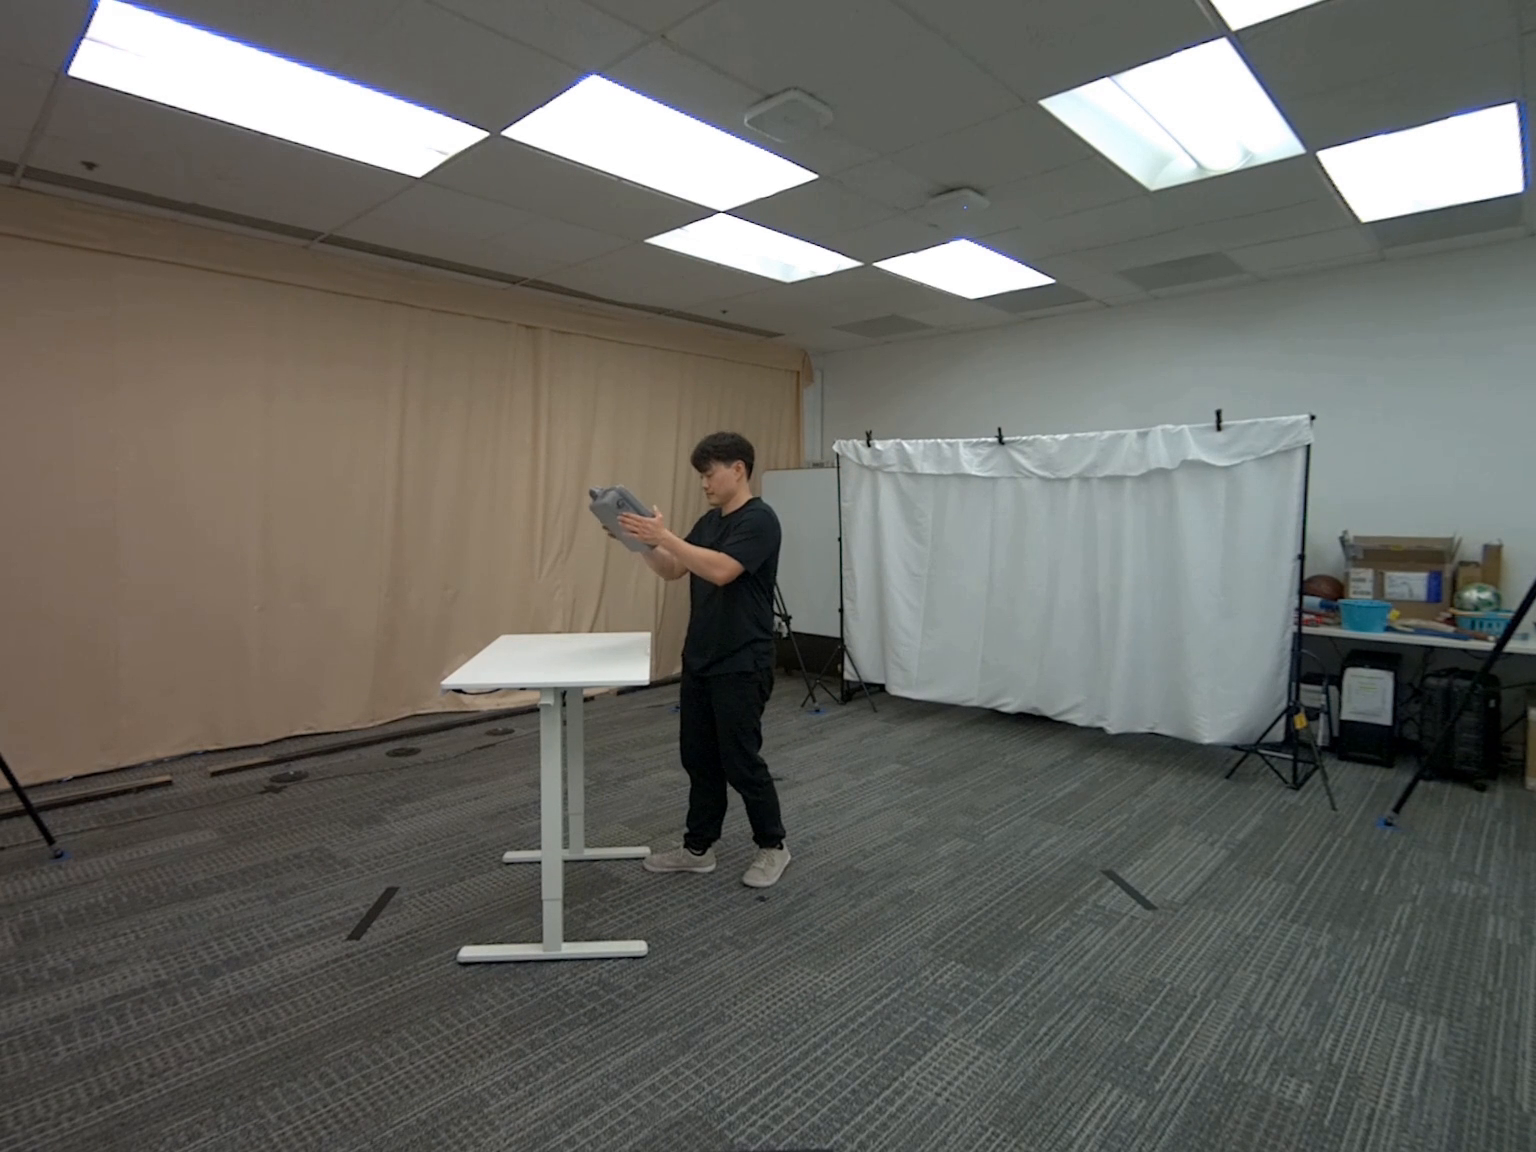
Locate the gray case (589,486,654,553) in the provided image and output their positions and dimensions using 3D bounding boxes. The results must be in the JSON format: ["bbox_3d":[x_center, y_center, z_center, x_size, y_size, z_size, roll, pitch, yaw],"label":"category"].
[{"bbox_3d":[-0.504,-0.204,3.015,0.256,0.104,0.262,45,-17,-15],"label":"gray case"}]
